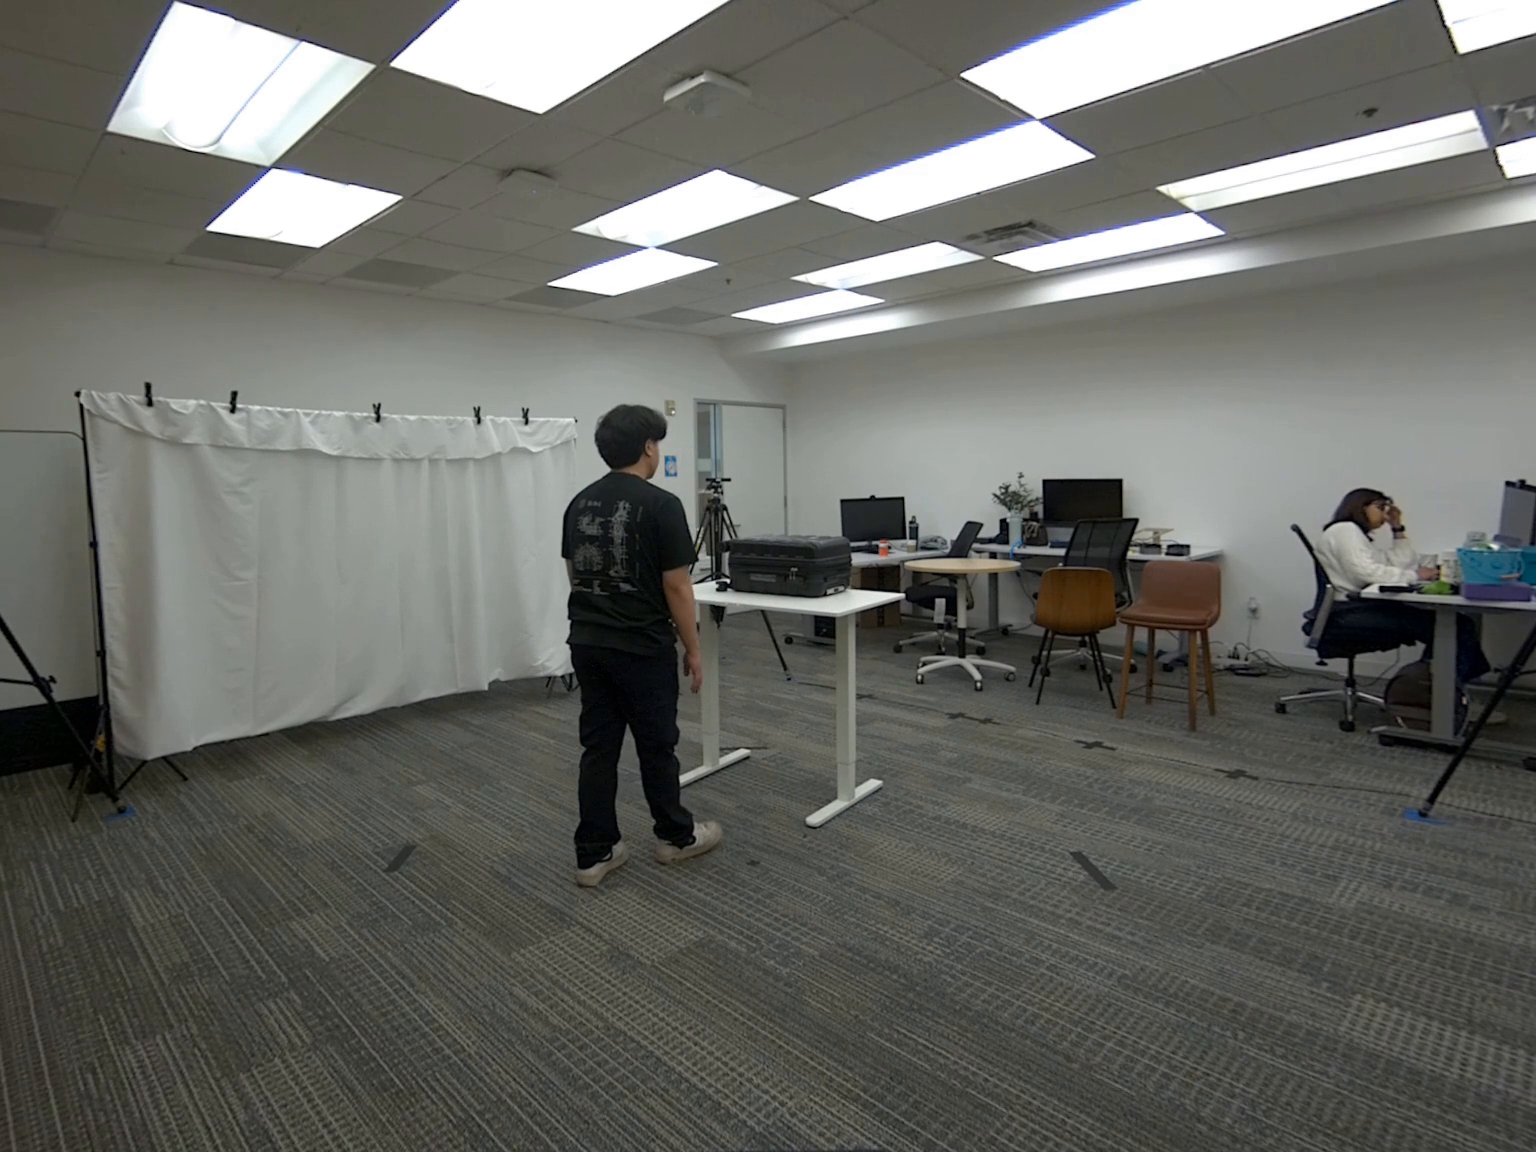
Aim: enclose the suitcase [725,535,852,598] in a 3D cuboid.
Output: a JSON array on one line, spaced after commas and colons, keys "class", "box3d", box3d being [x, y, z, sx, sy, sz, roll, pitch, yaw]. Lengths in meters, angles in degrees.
[{"class": "suitcase", "box3d": [0.085, -0.050, 3.887, 0.565, 0.247, 0.366, 3, 6, 35]}]
